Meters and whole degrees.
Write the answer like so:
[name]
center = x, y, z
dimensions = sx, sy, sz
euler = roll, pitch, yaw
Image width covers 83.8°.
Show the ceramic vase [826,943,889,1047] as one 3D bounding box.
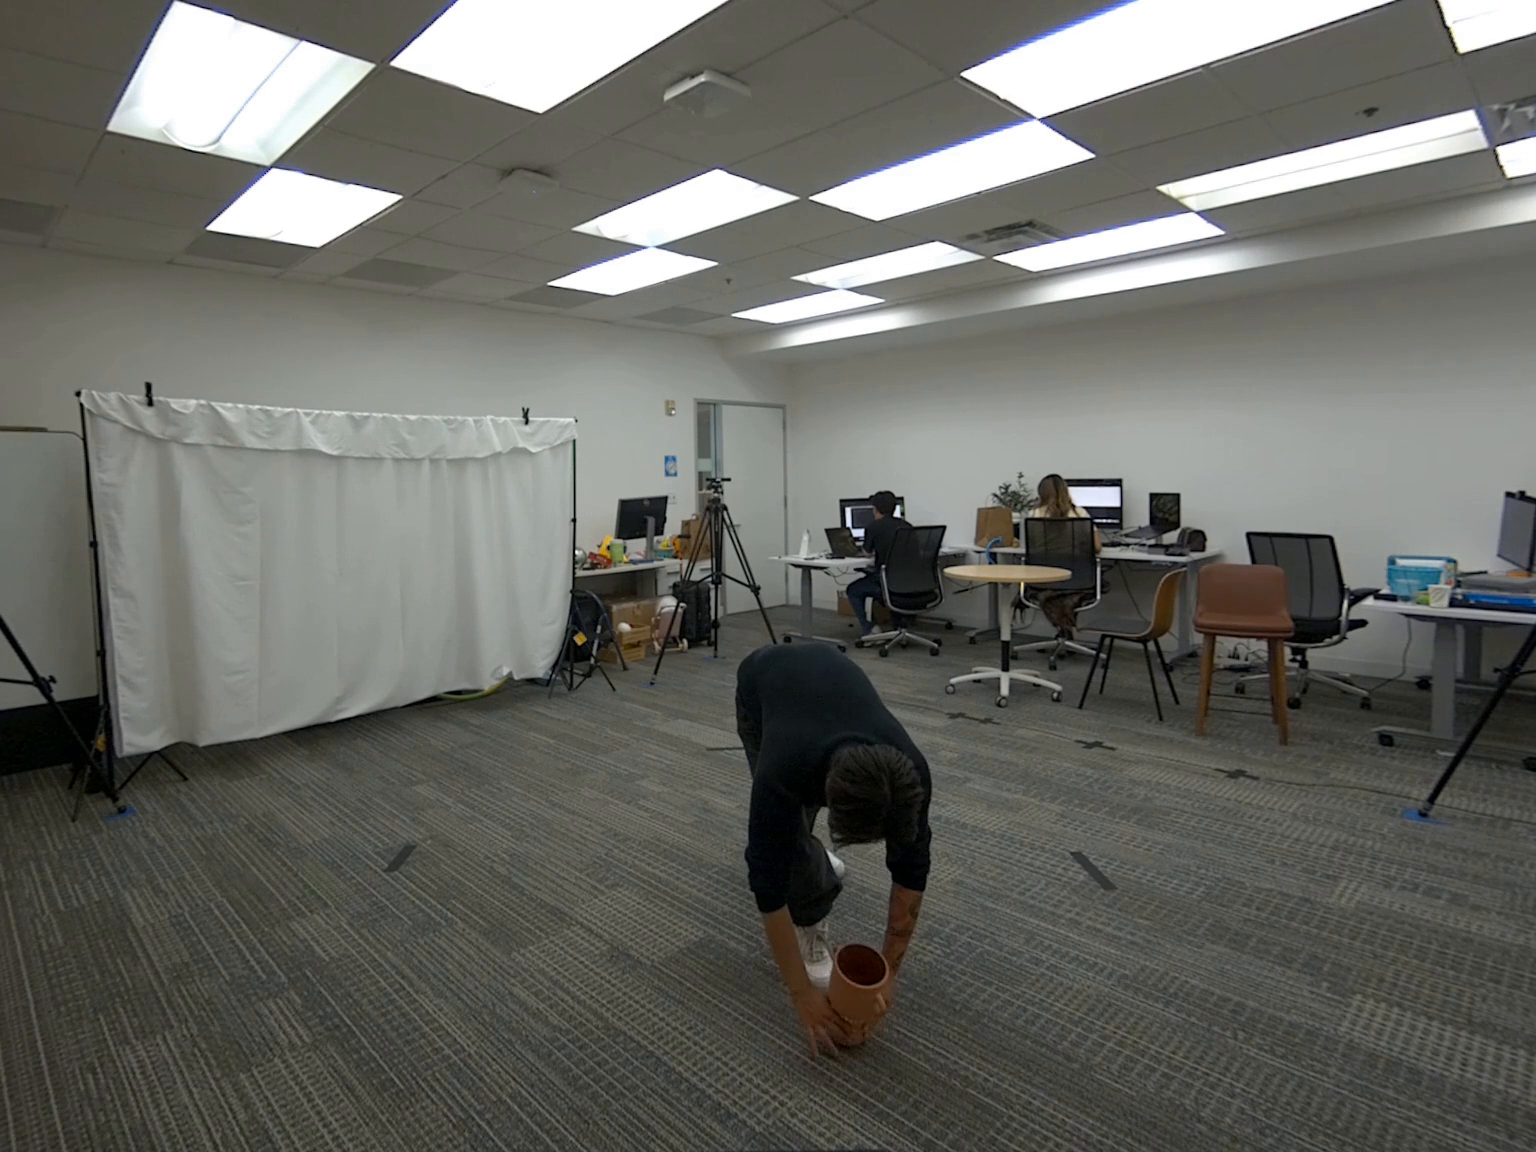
[ceramic vase]
center = 0.221, 1.033, 2.095
dimensions = 0.135, 0.216, 0.160
euler = 8, 22, 4
